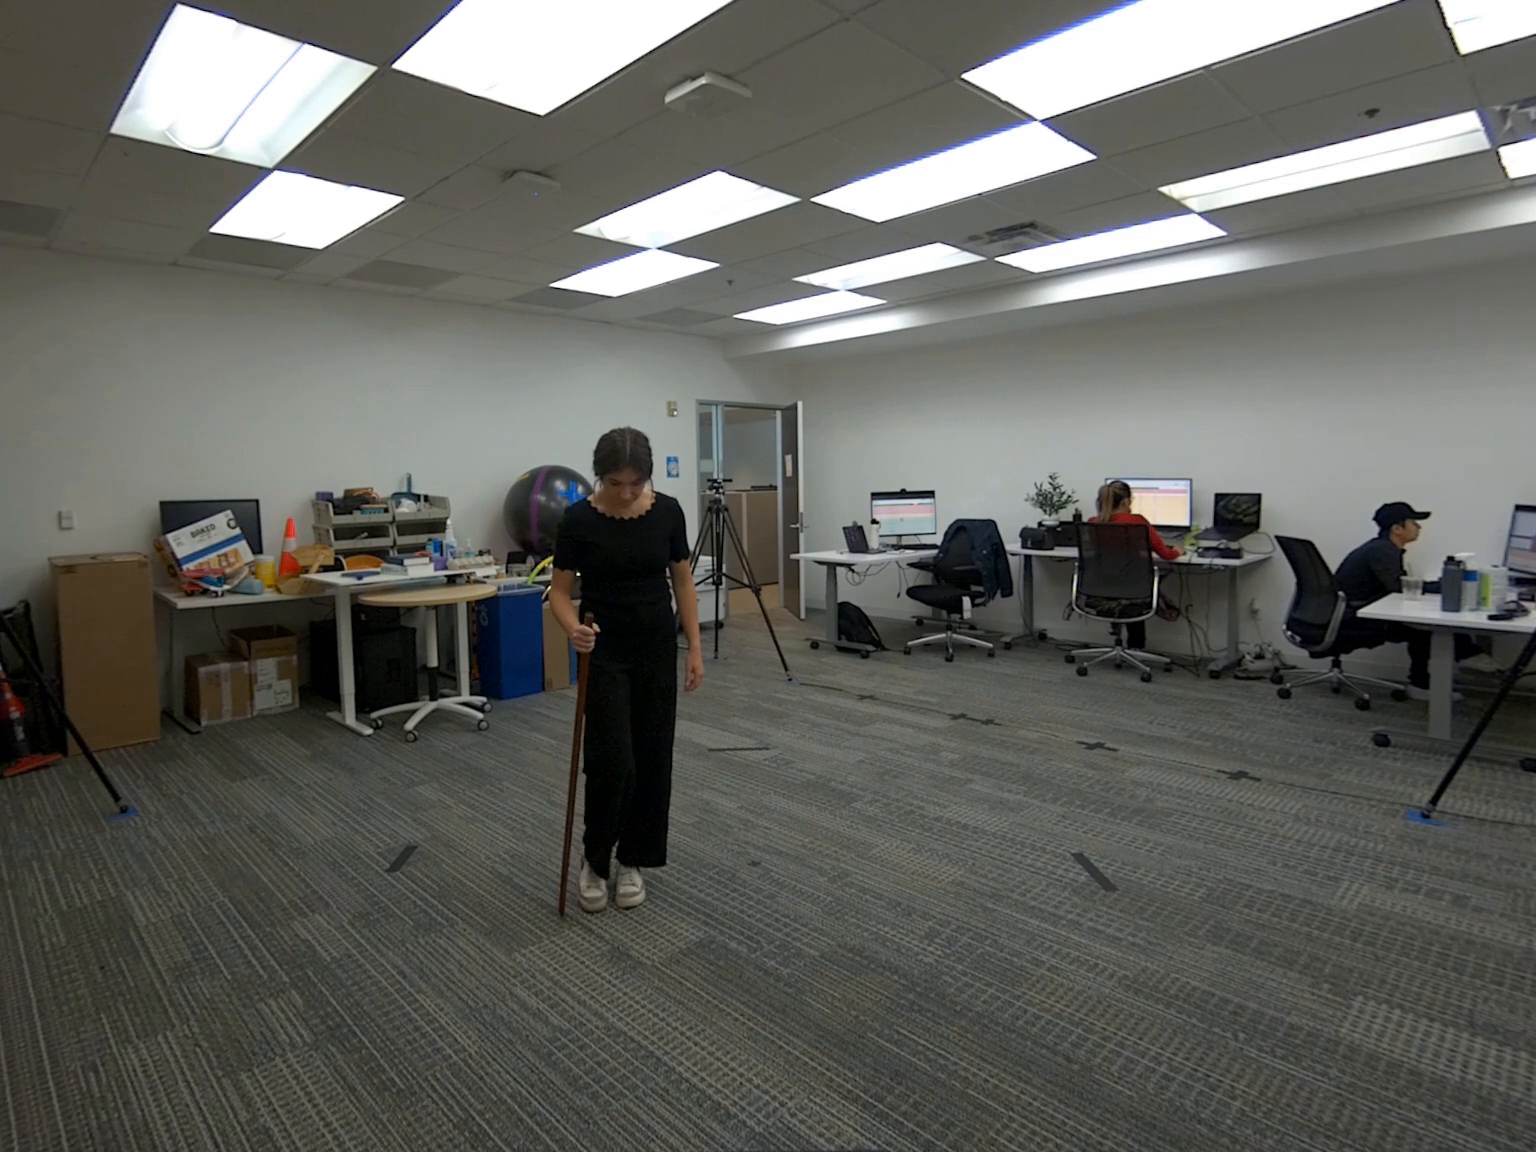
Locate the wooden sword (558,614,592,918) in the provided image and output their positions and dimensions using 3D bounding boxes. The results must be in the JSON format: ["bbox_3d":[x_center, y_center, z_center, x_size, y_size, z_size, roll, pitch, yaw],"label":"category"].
[{"bbox_3d":[-0.610,0.616,2.660,0.050,1.013,0.025,-6,19,-43],"label":"wooden sword"}]
